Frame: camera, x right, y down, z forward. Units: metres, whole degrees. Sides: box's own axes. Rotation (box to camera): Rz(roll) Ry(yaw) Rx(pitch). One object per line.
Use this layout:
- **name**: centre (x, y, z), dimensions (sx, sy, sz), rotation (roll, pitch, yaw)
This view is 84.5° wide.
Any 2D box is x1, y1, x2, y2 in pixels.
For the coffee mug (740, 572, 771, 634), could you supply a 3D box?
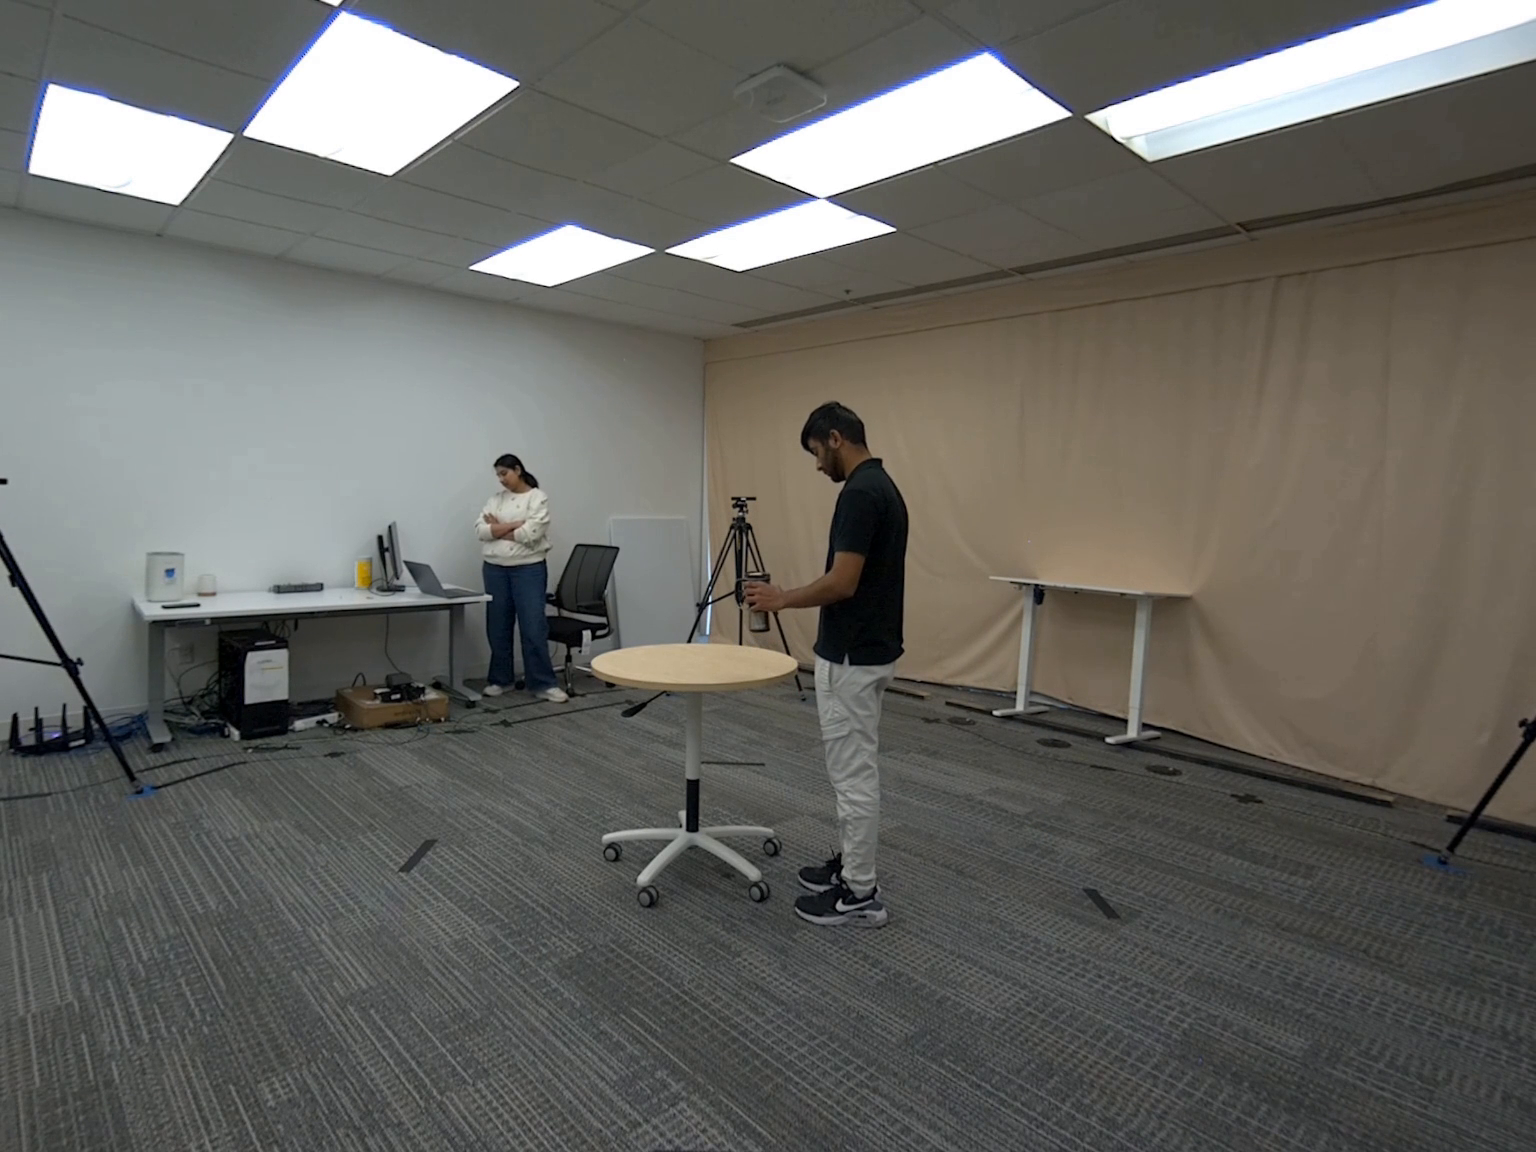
- **coffee mug**: centre (-0.049, 0.096, 2.905), dimensions (0.125, 0.202, 0.086), rotation (5, 5, 34)
